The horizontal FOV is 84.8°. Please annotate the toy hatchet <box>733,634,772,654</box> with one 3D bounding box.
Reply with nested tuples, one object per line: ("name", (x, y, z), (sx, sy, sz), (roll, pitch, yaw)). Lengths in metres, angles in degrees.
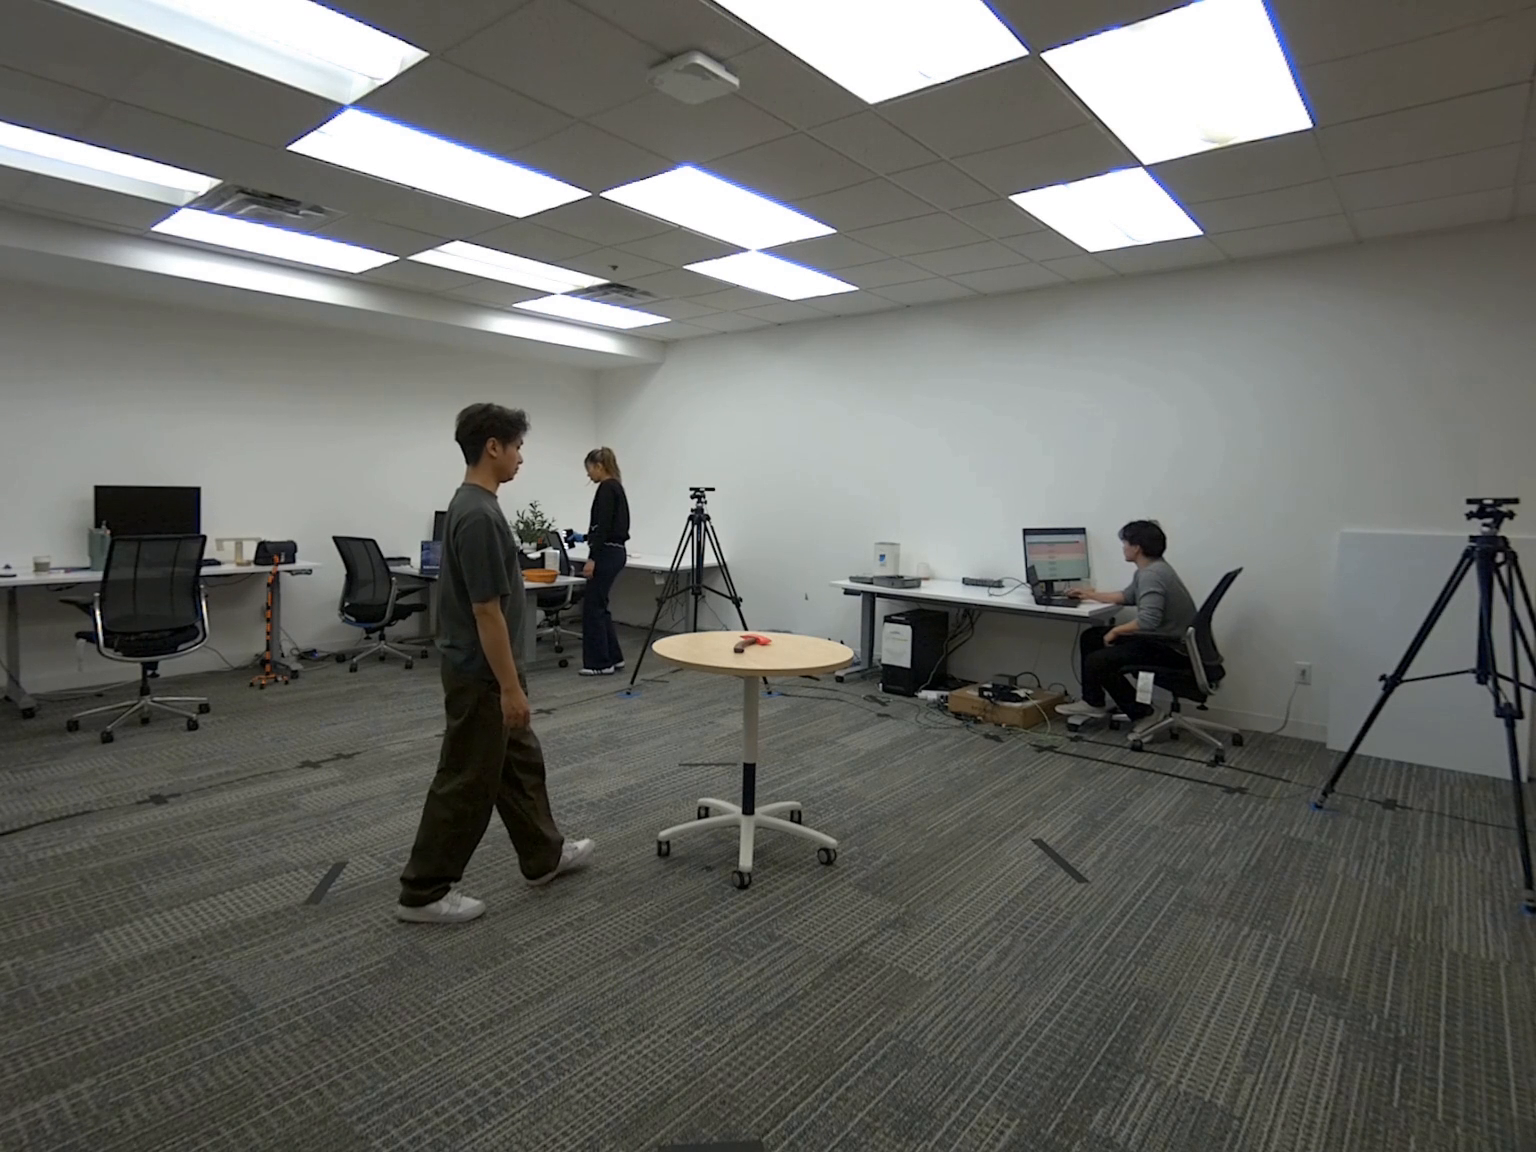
("toy hatchet", (-0.064, 0.261, 3.260), (0.132, 0.029, 0.270), (6, 8, 2))
